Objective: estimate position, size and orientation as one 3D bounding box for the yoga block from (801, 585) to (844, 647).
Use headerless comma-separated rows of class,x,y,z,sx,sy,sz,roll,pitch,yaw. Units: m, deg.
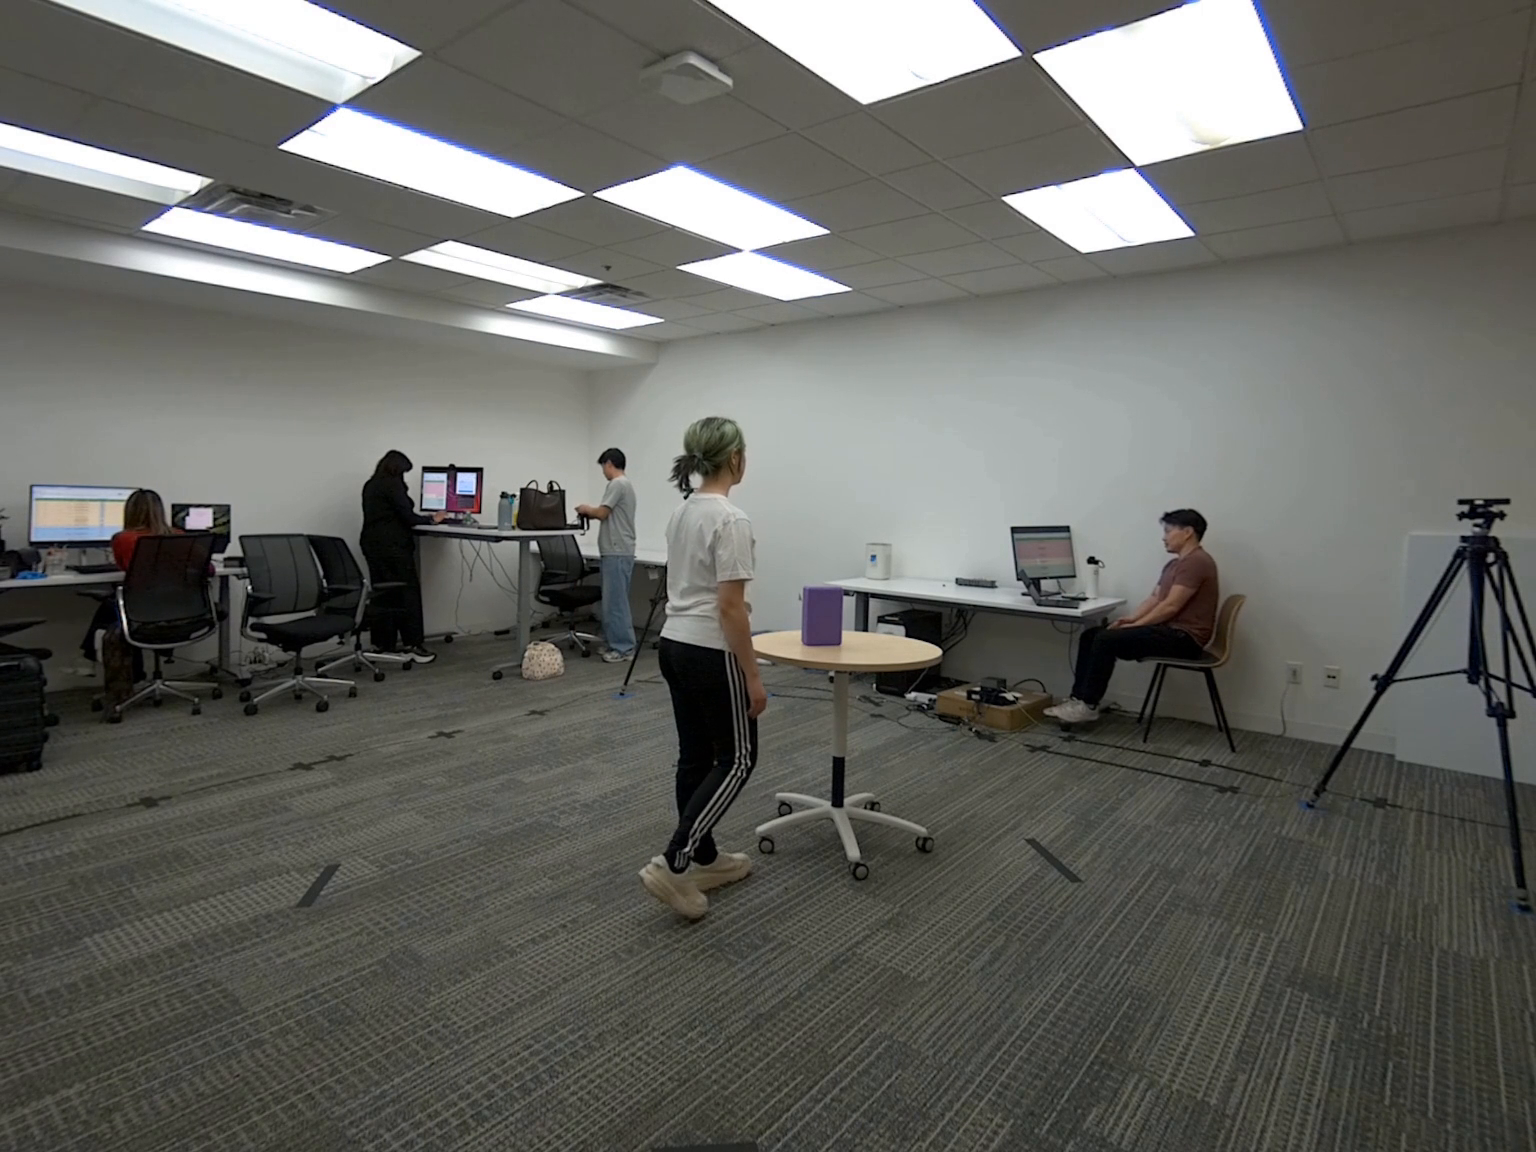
yoga block,0.214,0.153,3.371,0.147,0.229,0.077,2,3,-9
